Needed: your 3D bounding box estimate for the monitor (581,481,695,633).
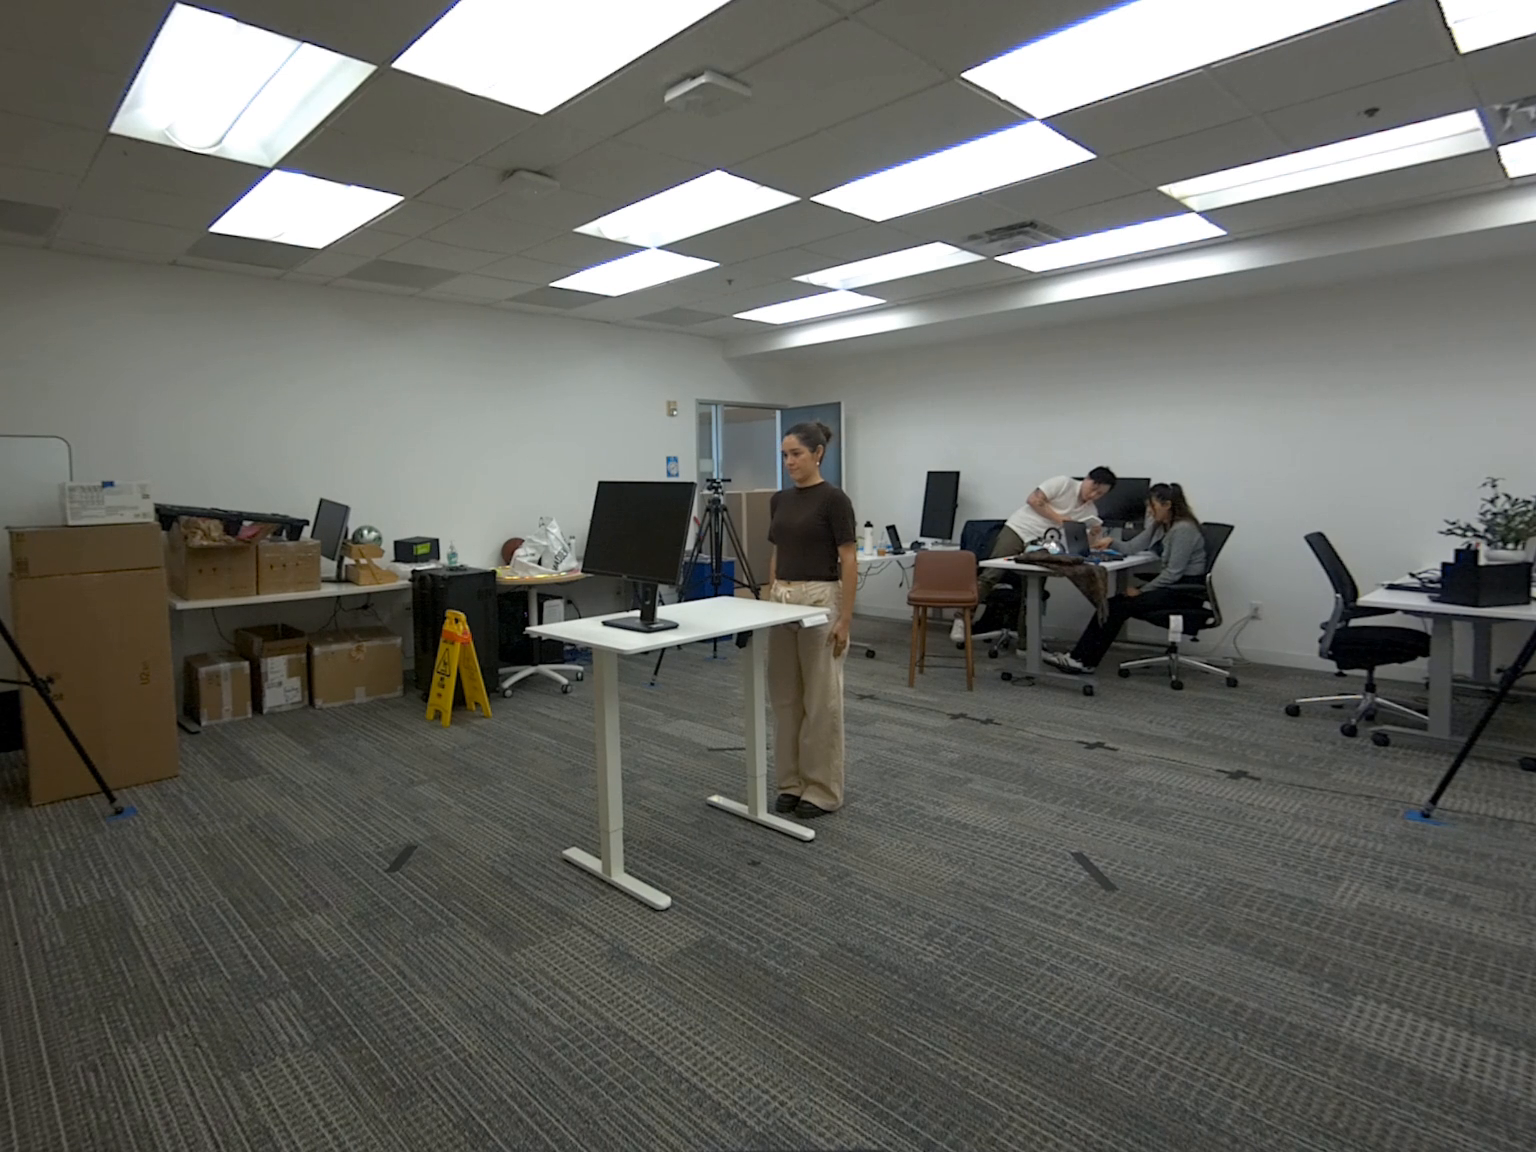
[{"bbox_3d":[-0.451,-0.077,3.030,0.547,0.513,0.170,6,9,43],"label":"monitor"}]
